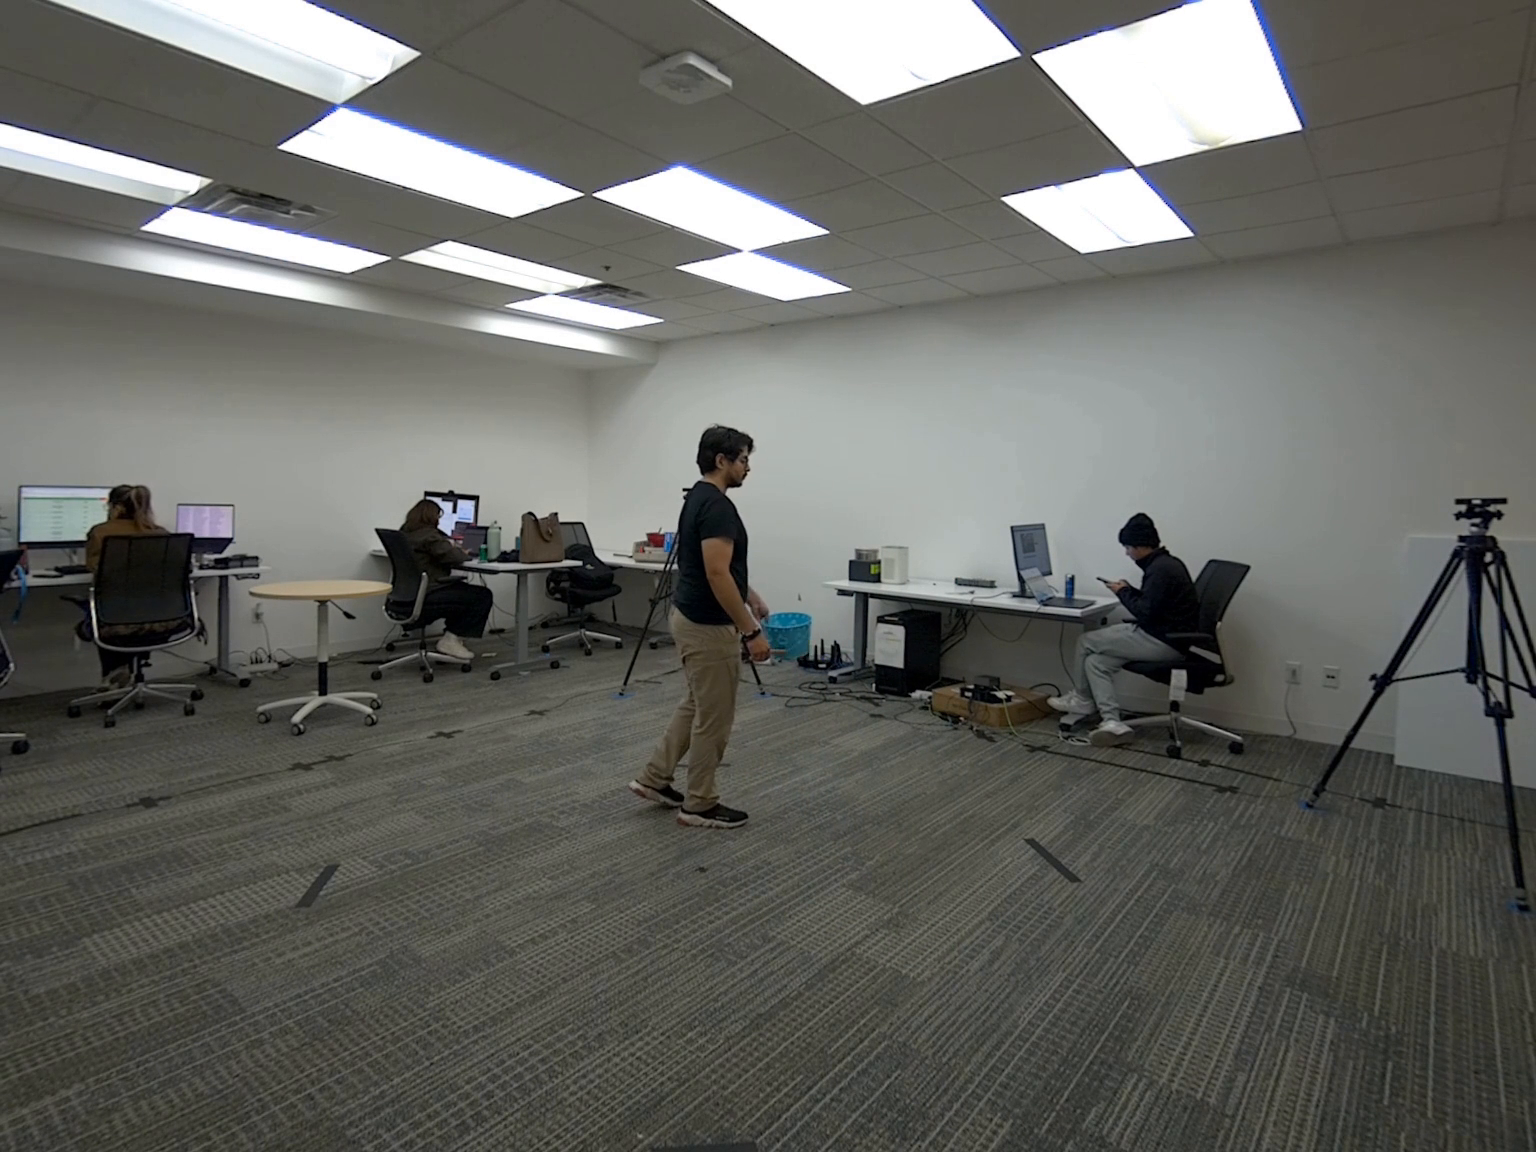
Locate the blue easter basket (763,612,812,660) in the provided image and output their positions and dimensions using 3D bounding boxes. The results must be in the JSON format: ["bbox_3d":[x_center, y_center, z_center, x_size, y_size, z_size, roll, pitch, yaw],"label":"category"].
[{"bbox_3d":[0.066,0.260,3.815,0.243,0.154,0.246,-4,12,-1],"label":"blue easter basket"}]
